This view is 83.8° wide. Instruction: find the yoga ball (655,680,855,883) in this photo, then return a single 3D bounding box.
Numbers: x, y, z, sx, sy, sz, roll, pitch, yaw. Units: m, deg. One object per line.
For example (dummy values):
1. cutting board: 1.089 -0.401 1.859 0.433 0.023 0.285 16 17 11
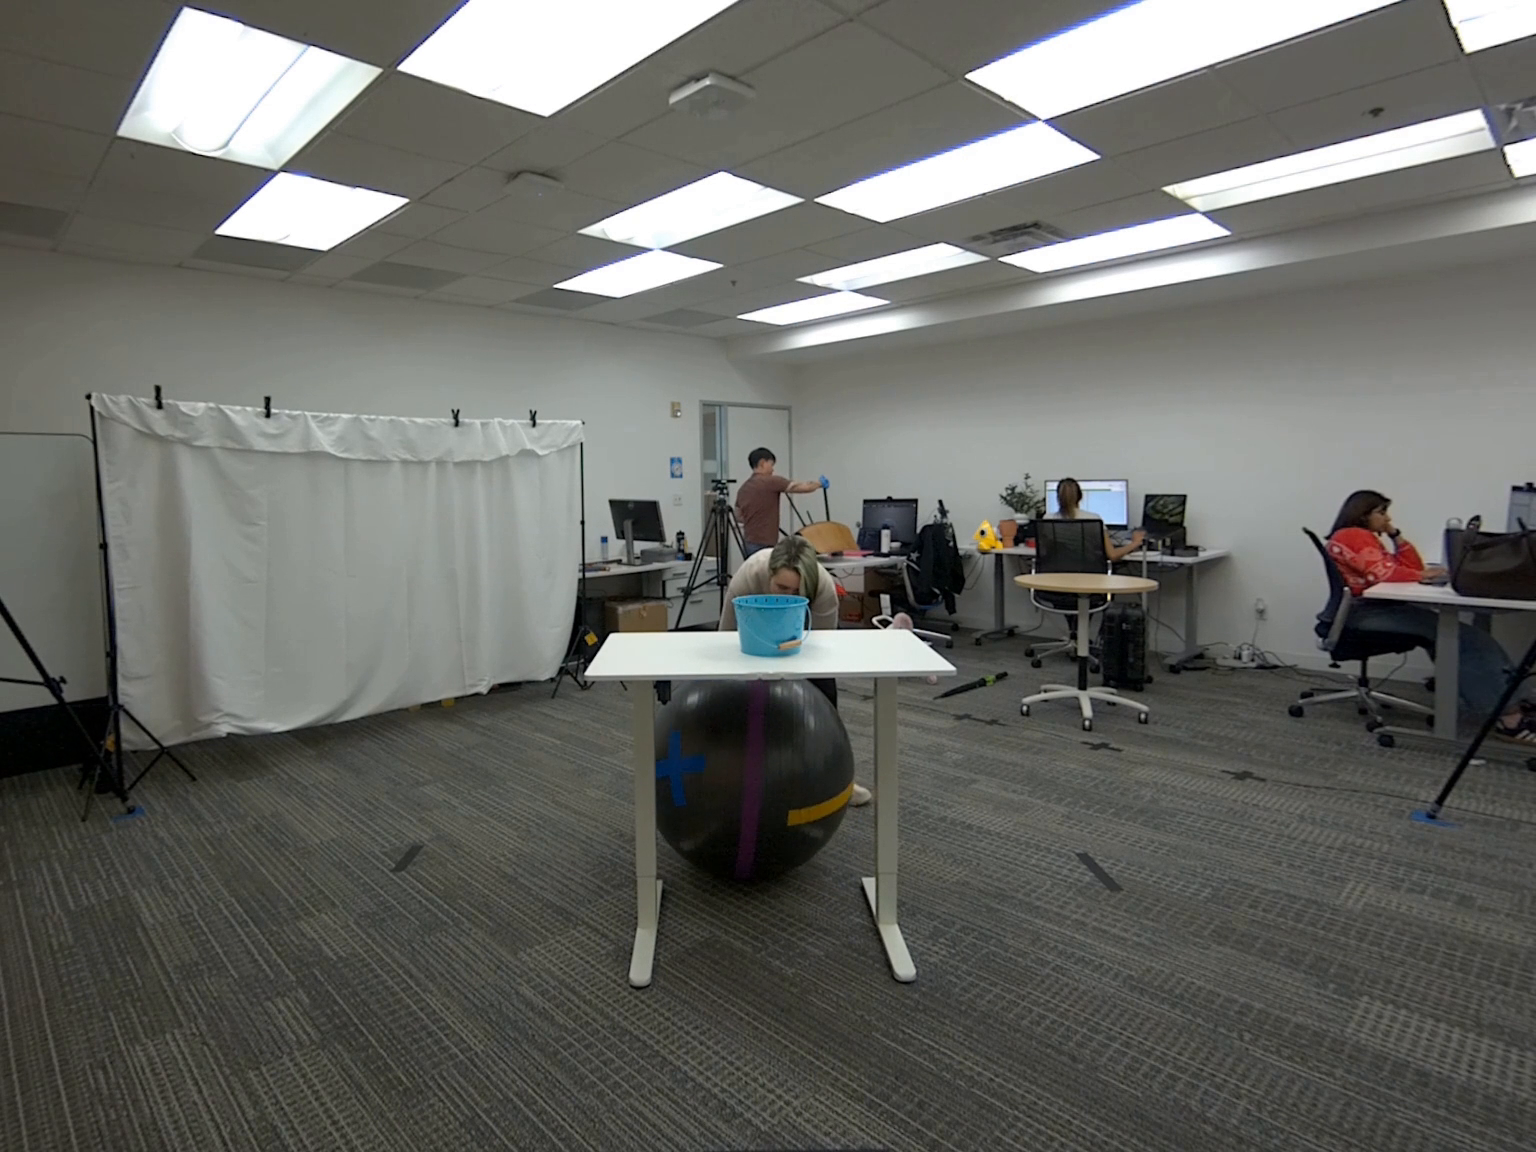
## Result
1. yoga ball: -0.074 0.686 3.053 0.757 0.755 0.762 -1 5 -2
